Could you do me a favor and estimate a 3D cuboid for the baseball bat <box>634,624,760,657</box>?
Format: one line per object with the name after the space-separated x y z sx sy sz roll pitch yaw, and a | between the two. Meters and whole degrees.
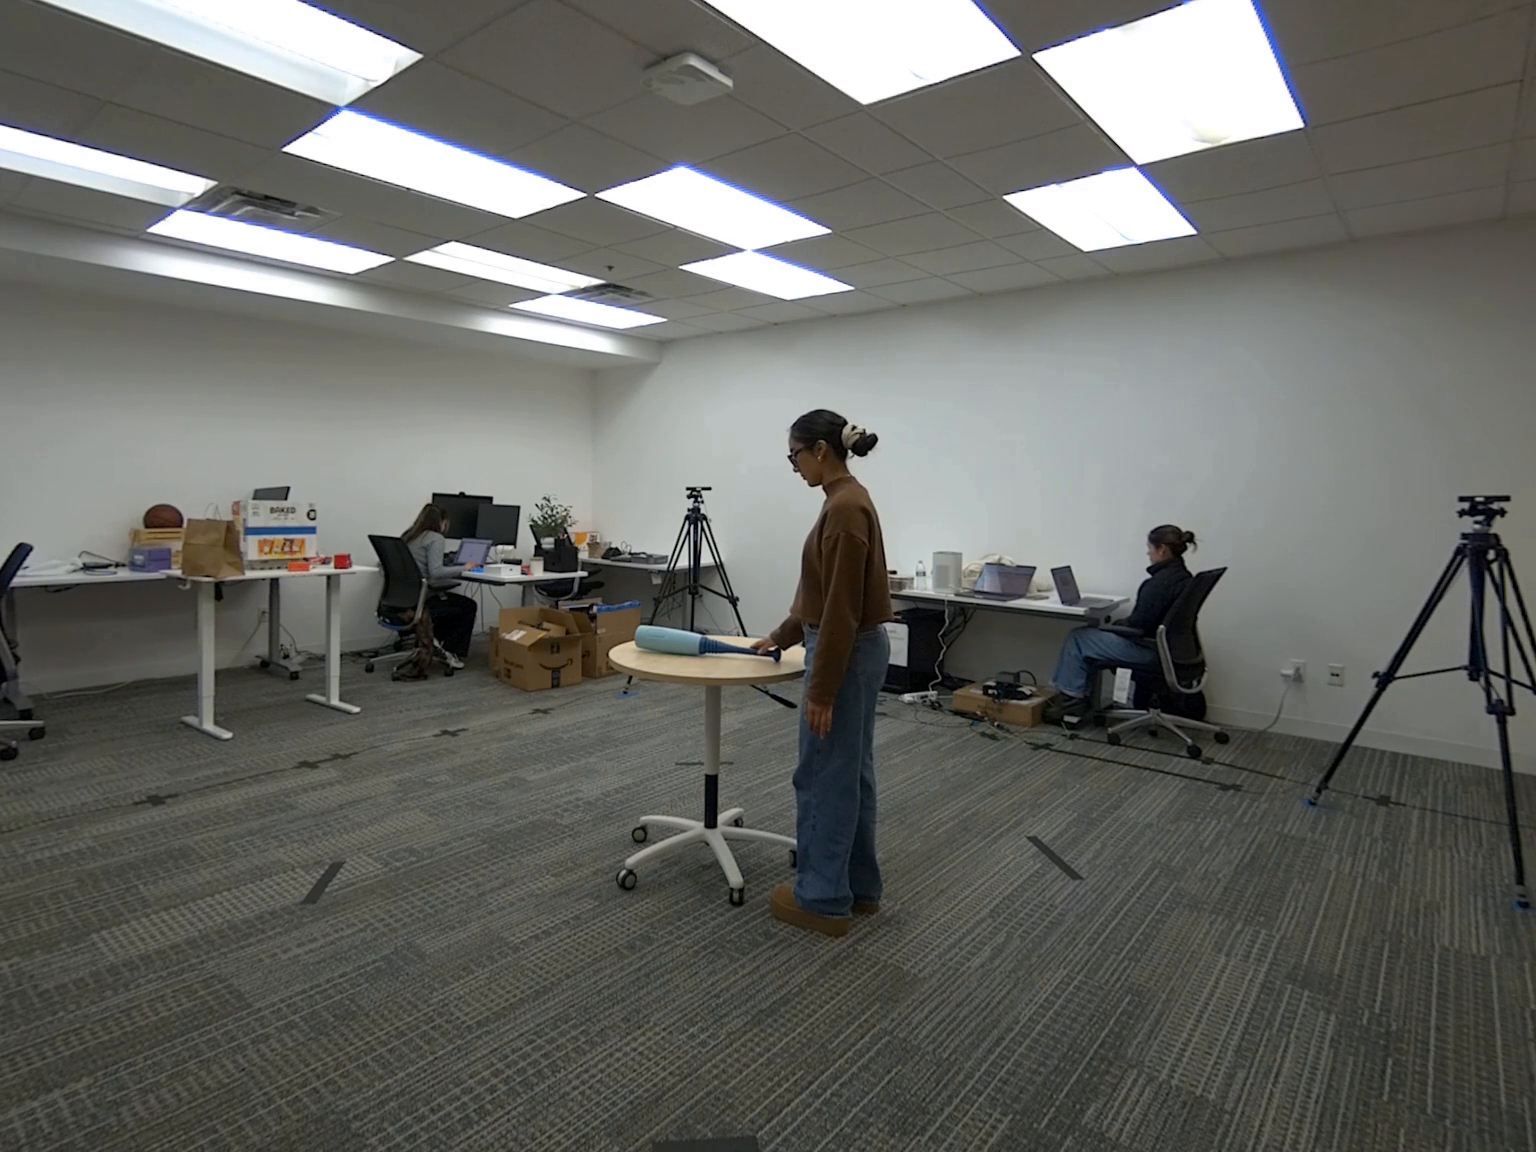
-0.231 0.251 3.065 0.552 0.089 0.088 6 5 14 | baseball bat
